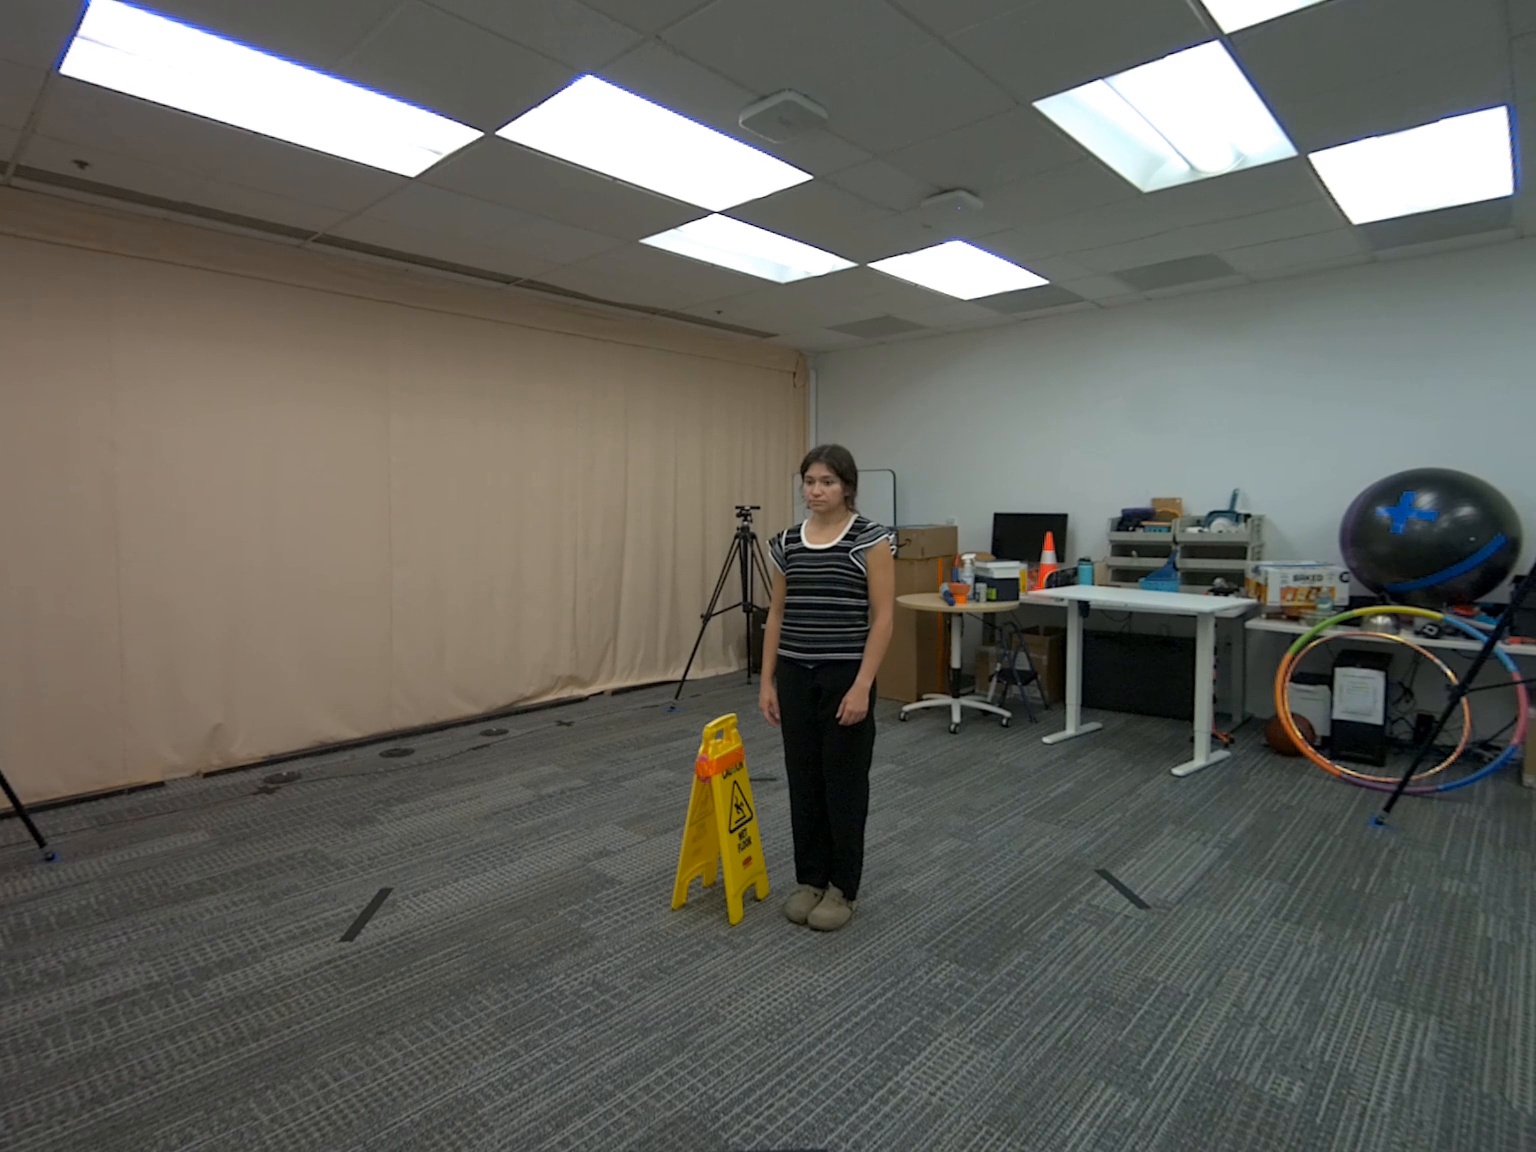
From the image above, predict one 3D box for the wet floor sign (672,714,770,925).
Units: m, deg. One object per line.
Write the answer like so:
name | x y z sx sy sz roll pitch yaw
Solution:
wet floor sign | -0.164 0.825 2.948 0.297 0.645 0.275 0 2 28
